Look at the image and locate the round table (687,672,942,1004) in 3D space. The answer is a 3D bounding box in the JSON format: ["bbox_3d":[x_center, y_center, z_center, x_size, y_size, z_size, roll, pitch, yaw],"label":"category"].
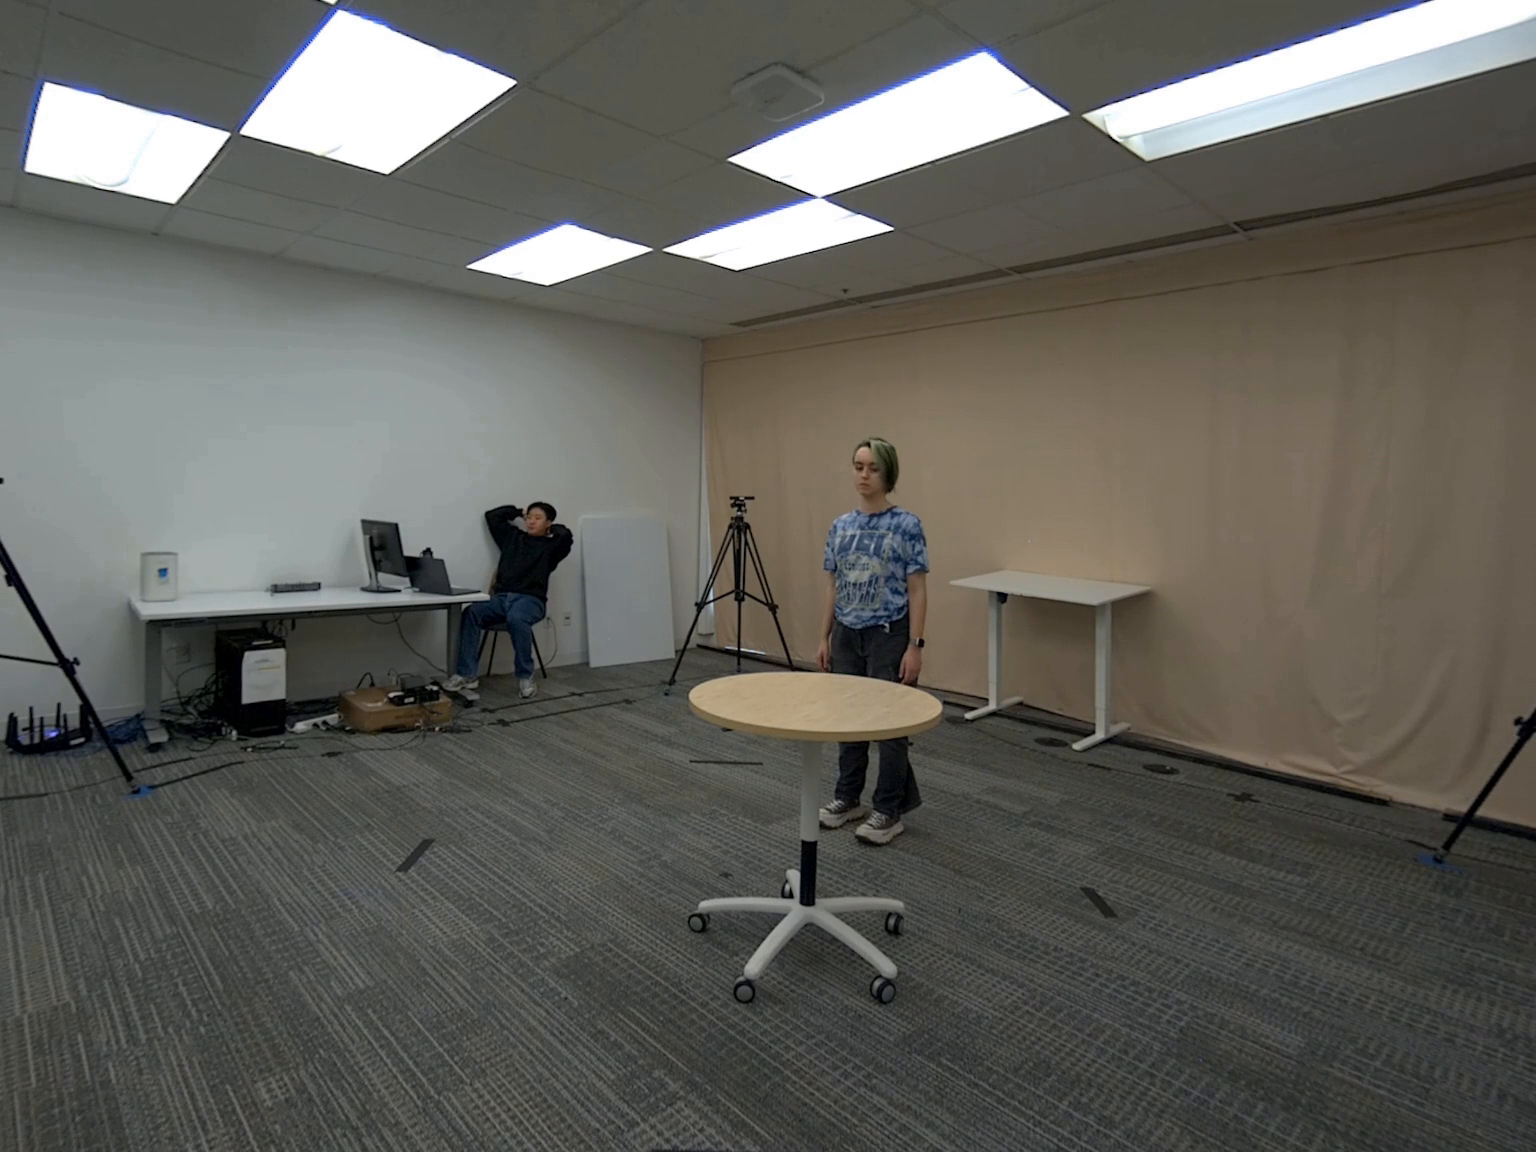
[{"bbox_3d":[0.120,0.769,2.596,0.763,0.792,0.767,1,4,-1],"label":"round table"}]
